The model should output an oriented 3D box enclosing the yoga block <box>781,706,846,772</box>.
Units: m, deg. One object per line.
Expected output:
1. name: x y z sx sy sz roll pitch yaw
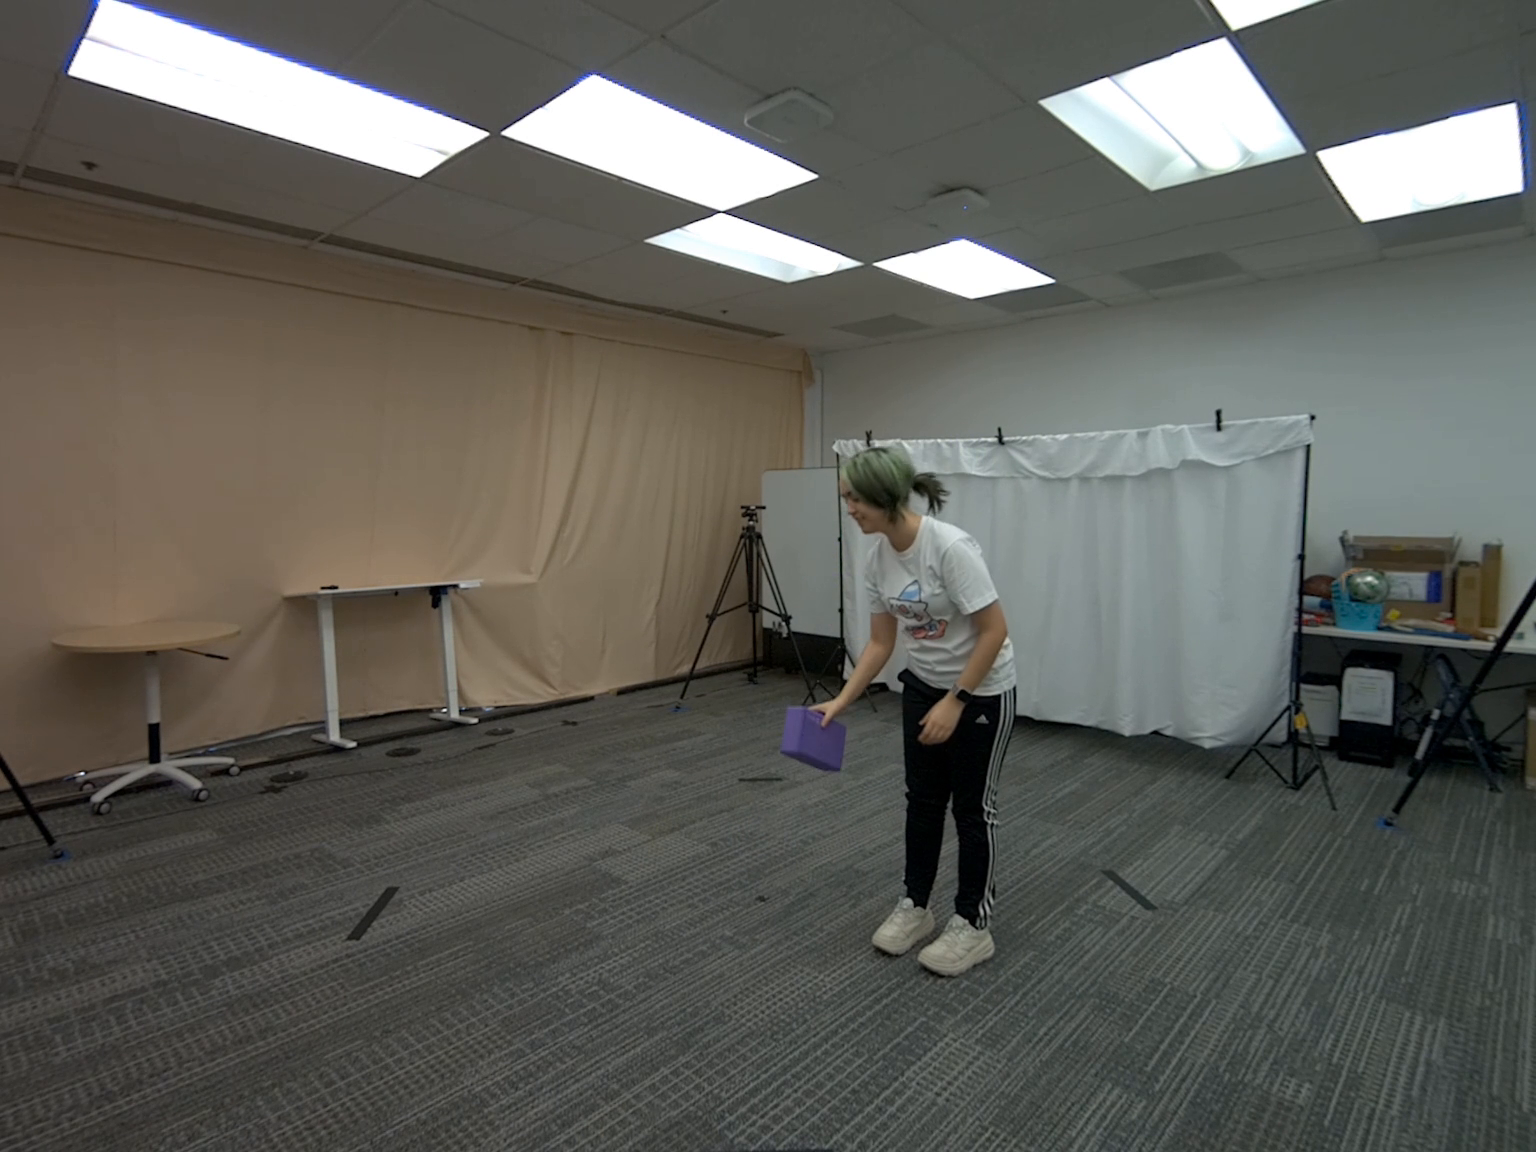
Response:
1. yoga block: 0.159 0.515 2.628 0.078 0.150 0.221 -11 -32 43
